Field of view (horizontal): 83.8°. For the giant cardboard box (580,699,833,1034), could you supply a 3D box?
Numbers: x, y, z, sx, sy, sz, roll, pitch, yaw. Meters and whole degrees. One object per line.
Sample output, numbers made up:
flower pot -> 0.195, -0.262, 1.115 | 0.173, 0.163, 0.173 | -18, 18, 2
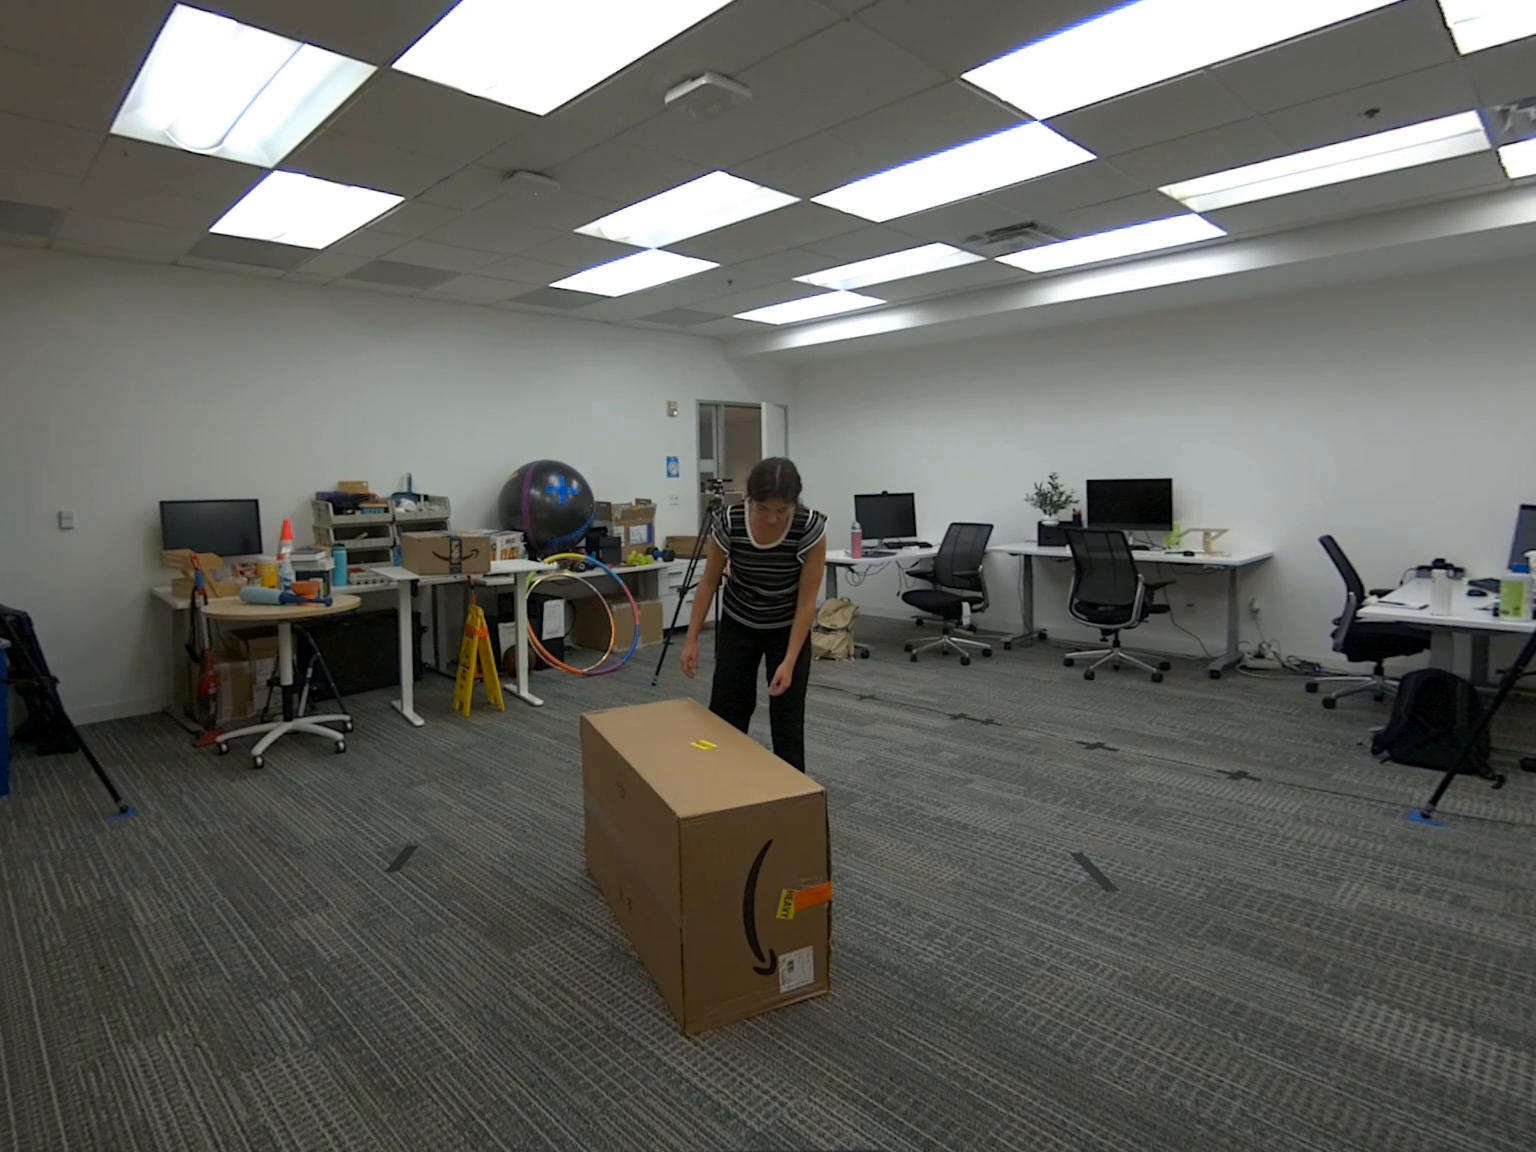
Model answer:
giant cardboard box -> -0.251, 0.811, 2.677 | 0.418, 0.575, 1.051 | -4, 7, -24
